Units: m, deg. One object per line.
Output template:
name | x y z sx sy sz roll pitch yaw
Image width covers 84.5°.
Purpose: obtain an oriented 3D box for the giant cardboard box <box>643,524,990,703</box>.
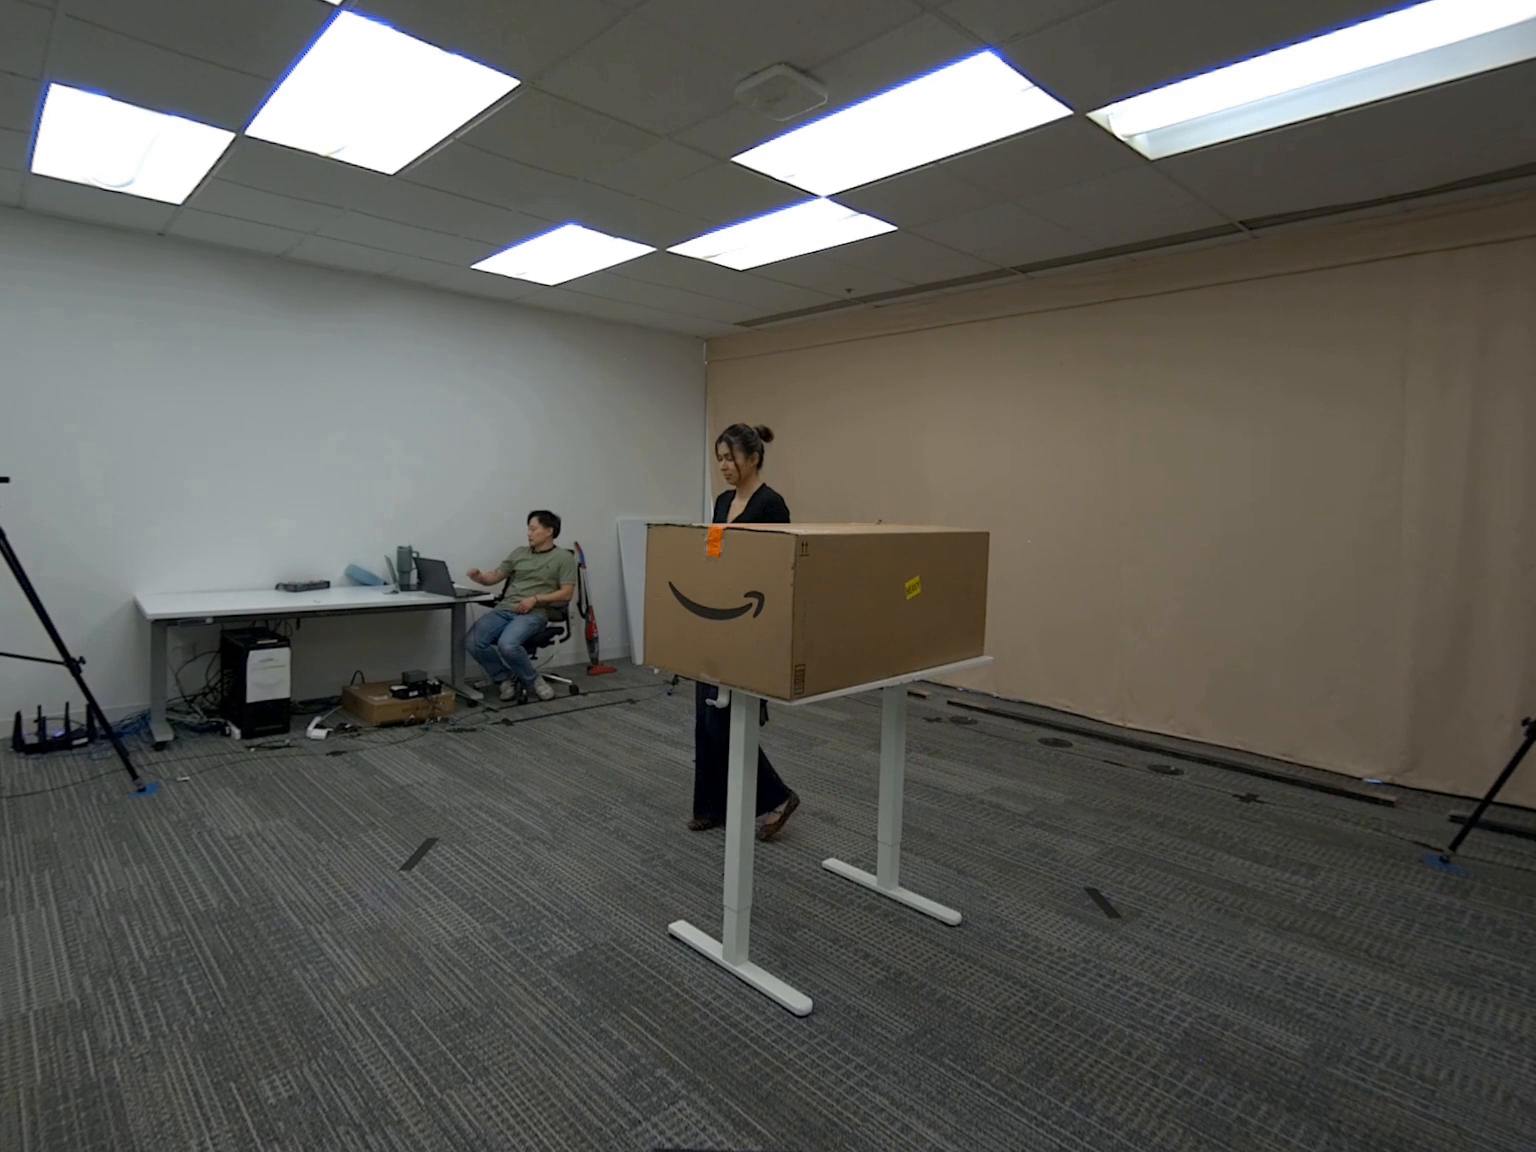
giant cardboard box | 0.178 0.056 2.663 0.592 0.425 1.002 6 6 42
